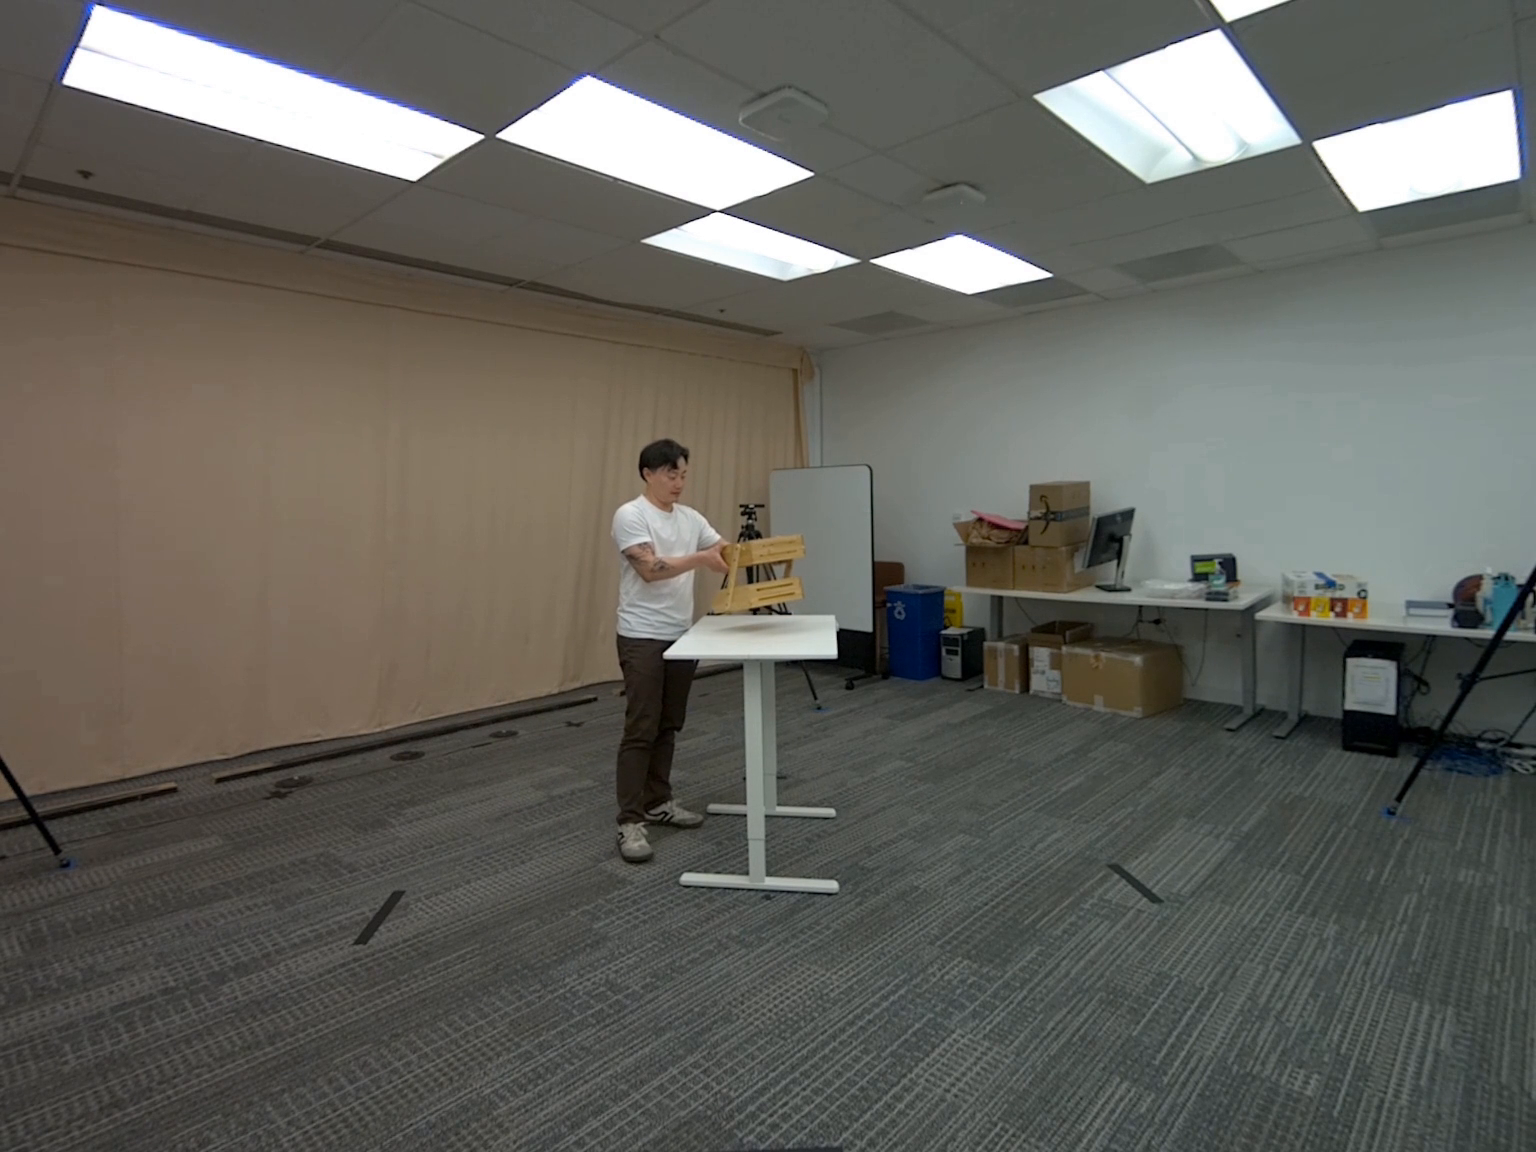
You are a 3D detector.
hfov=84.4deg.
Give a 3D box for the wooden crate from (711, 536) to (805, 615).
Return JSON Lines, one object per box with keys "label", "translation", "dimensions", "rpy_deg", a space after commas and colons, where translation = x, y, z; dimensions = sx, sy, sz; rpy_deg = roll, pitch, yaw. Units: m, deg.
{"label": "wooden crate", "translation": [-0.046, -0.011, 3.455], "dimensions": [0.315, 0.273, 0.310], "rpy_deg": [-9, 0, -41]}
